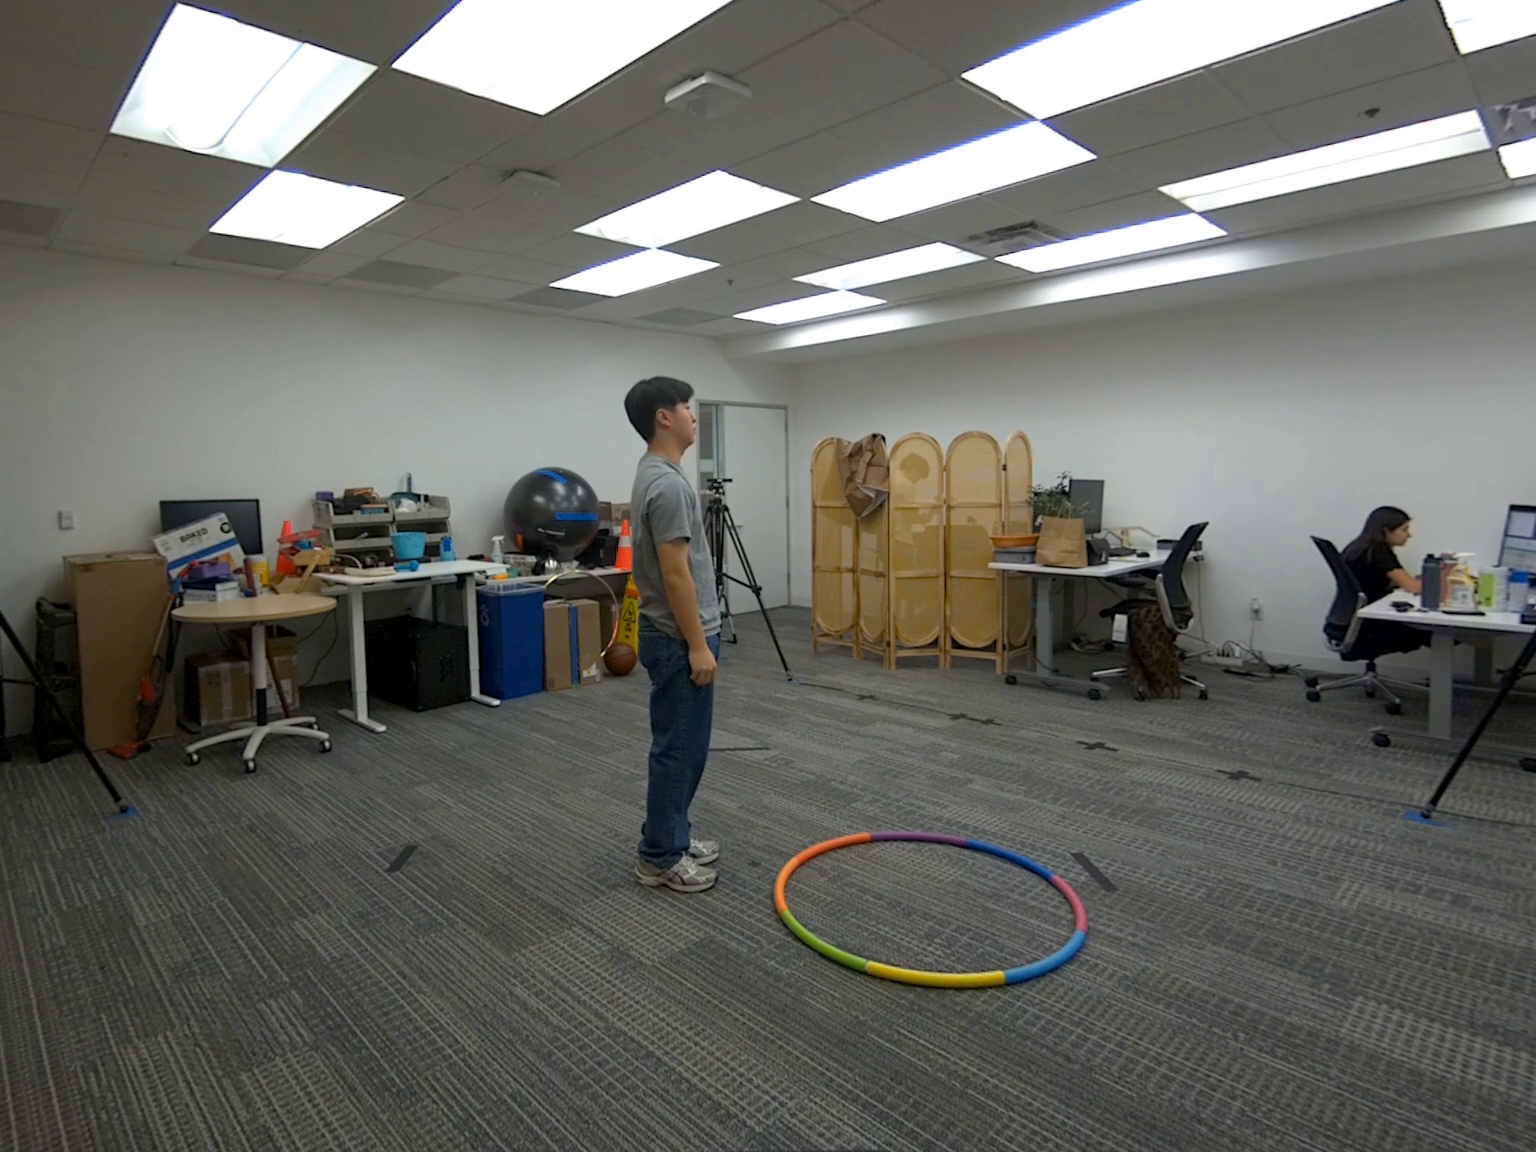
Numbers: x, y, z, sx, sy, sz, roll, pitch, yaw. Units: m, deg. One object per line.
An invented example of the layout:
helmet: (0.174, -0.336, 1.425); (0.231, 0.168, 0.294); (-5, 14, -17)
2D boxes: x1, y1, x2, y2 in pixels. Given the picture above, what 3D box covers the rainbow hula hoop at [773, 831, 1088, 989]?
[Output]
rainbow hula hoop: (0.508, 1.041, 2.811); (0.978, 0.035, 0.984); (-2, 7, -2)
